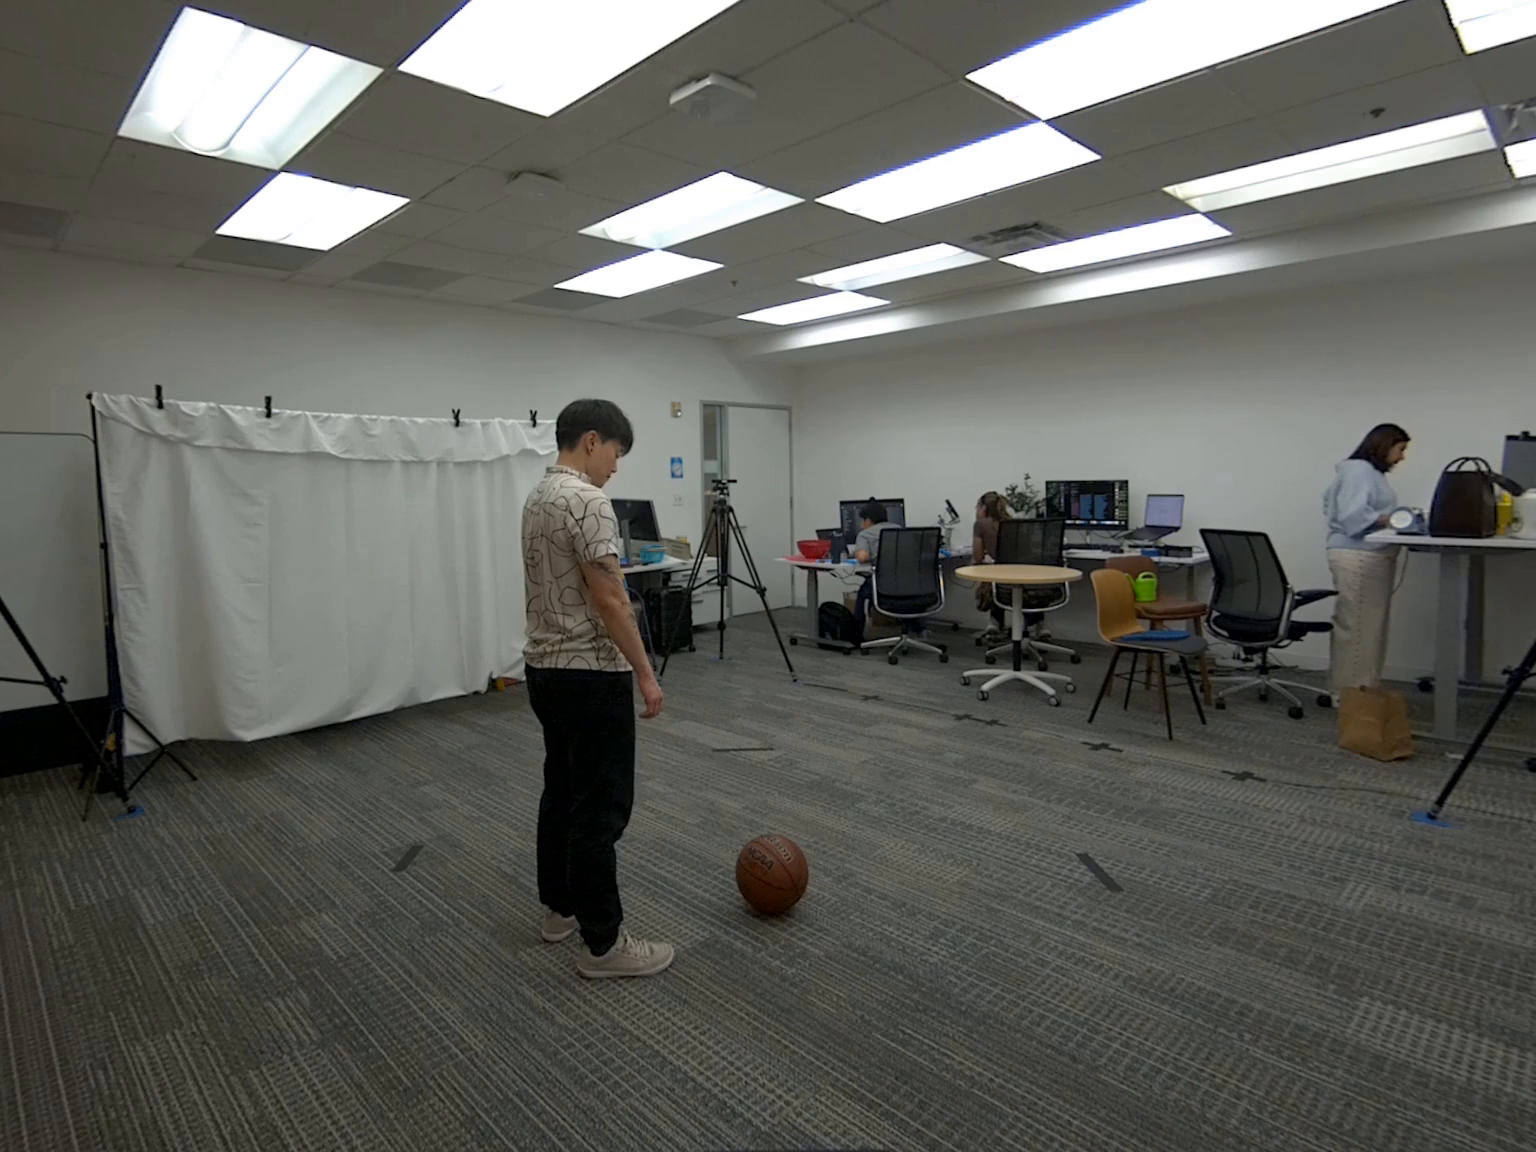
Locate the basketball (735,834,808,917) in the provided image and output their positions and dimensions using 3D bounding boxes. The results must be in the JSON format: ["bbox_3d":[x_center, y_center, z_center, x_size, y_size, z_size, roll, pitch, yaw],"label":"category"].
[{"bbox_3d":[0.017,0.964,2.776,0.236,0.235,0.237,-1,5,-2],"label":"basketball"}]
